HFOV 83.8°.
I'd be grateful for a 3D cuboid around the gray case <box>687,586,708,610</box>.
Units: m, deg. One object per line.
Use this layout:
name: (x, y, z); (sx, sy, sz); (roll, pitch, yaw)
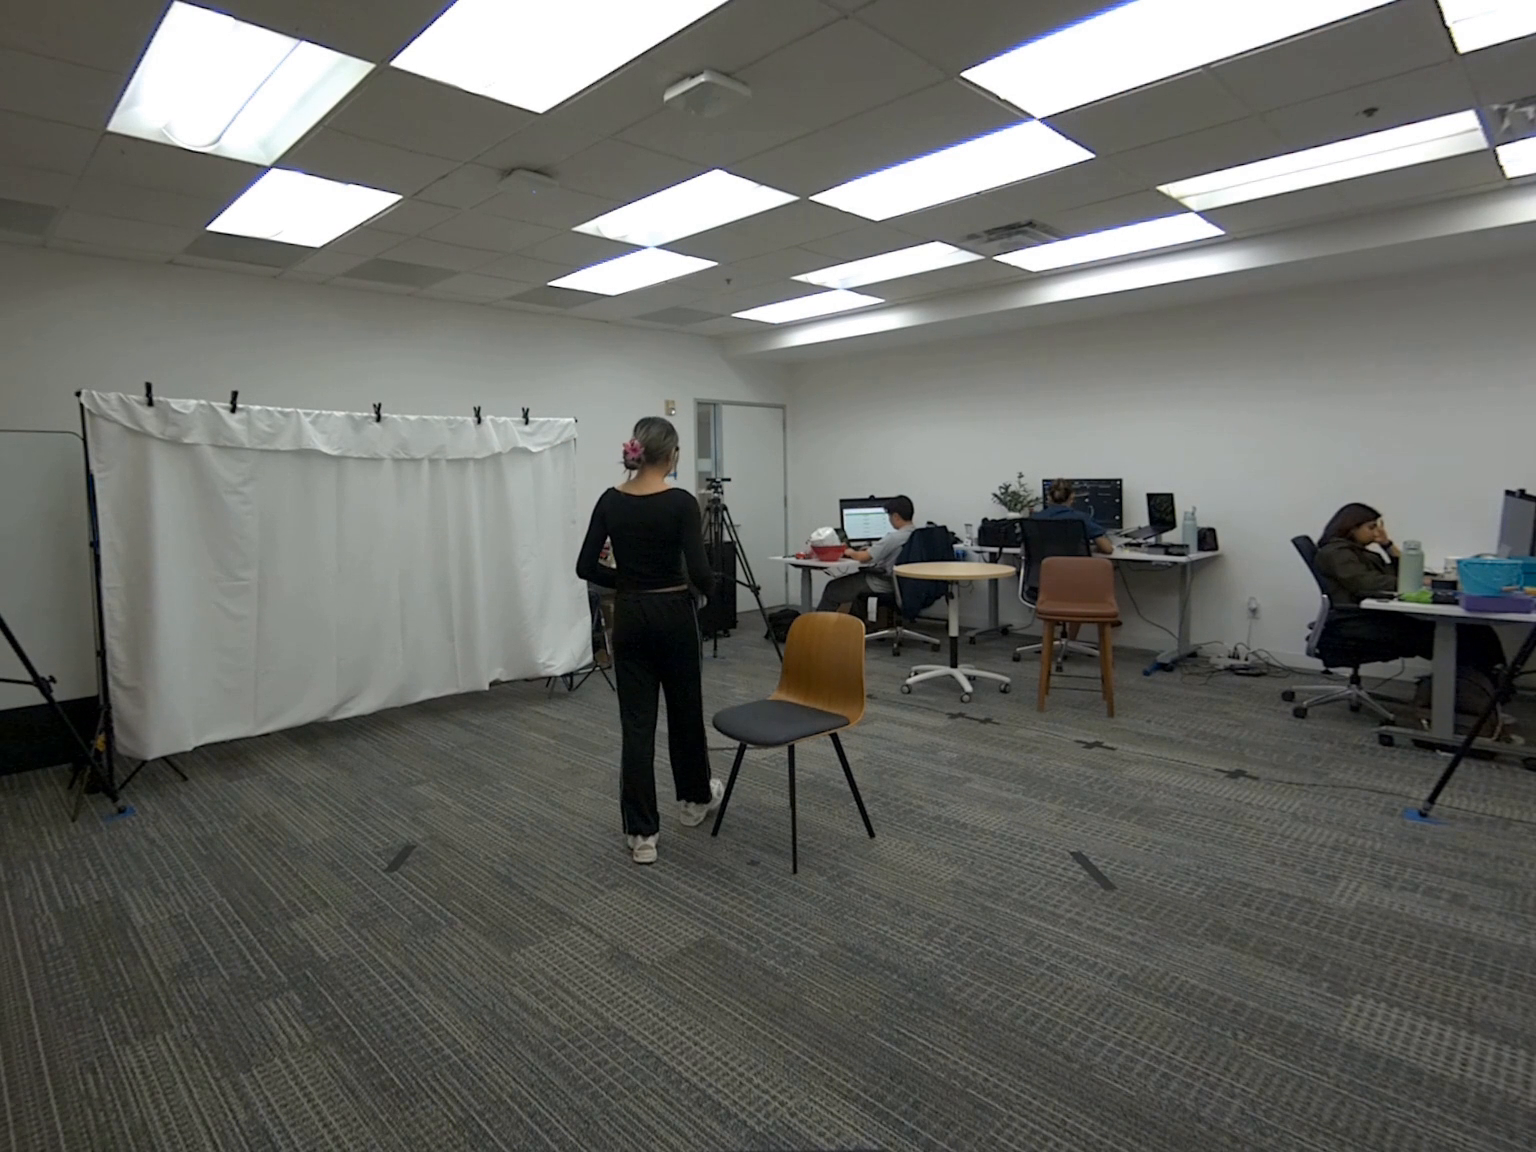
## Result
gray case: (-0.385, 0.006, 3.454); (0.261, 0.260, 0.102); (0, 1, 18)
